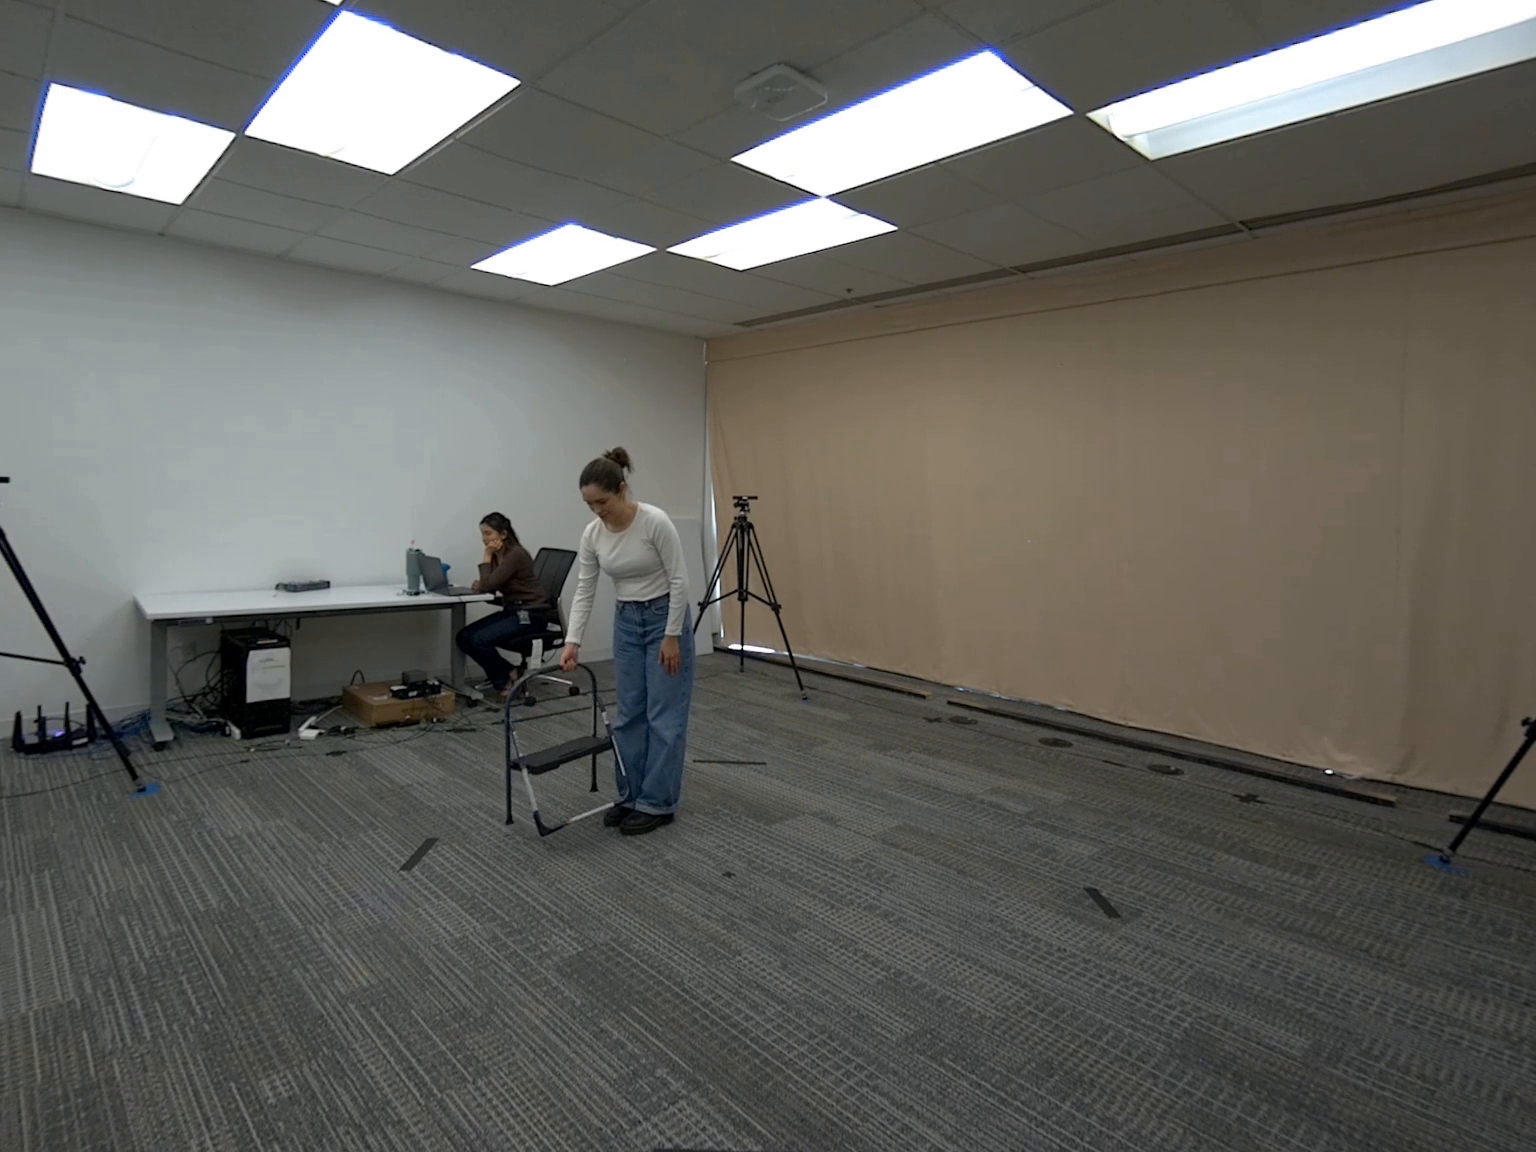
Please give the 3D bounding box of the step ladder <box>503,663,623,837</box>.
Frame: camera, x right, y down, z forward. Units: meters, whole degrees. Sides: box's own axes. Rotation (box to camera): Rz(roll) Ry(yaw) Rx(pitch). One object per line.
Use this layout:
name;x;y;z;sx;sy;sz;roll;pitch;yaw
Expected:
step ladder;-0.870;0.670;3.417;0.422;0.605;0.356;-12;2;-40
